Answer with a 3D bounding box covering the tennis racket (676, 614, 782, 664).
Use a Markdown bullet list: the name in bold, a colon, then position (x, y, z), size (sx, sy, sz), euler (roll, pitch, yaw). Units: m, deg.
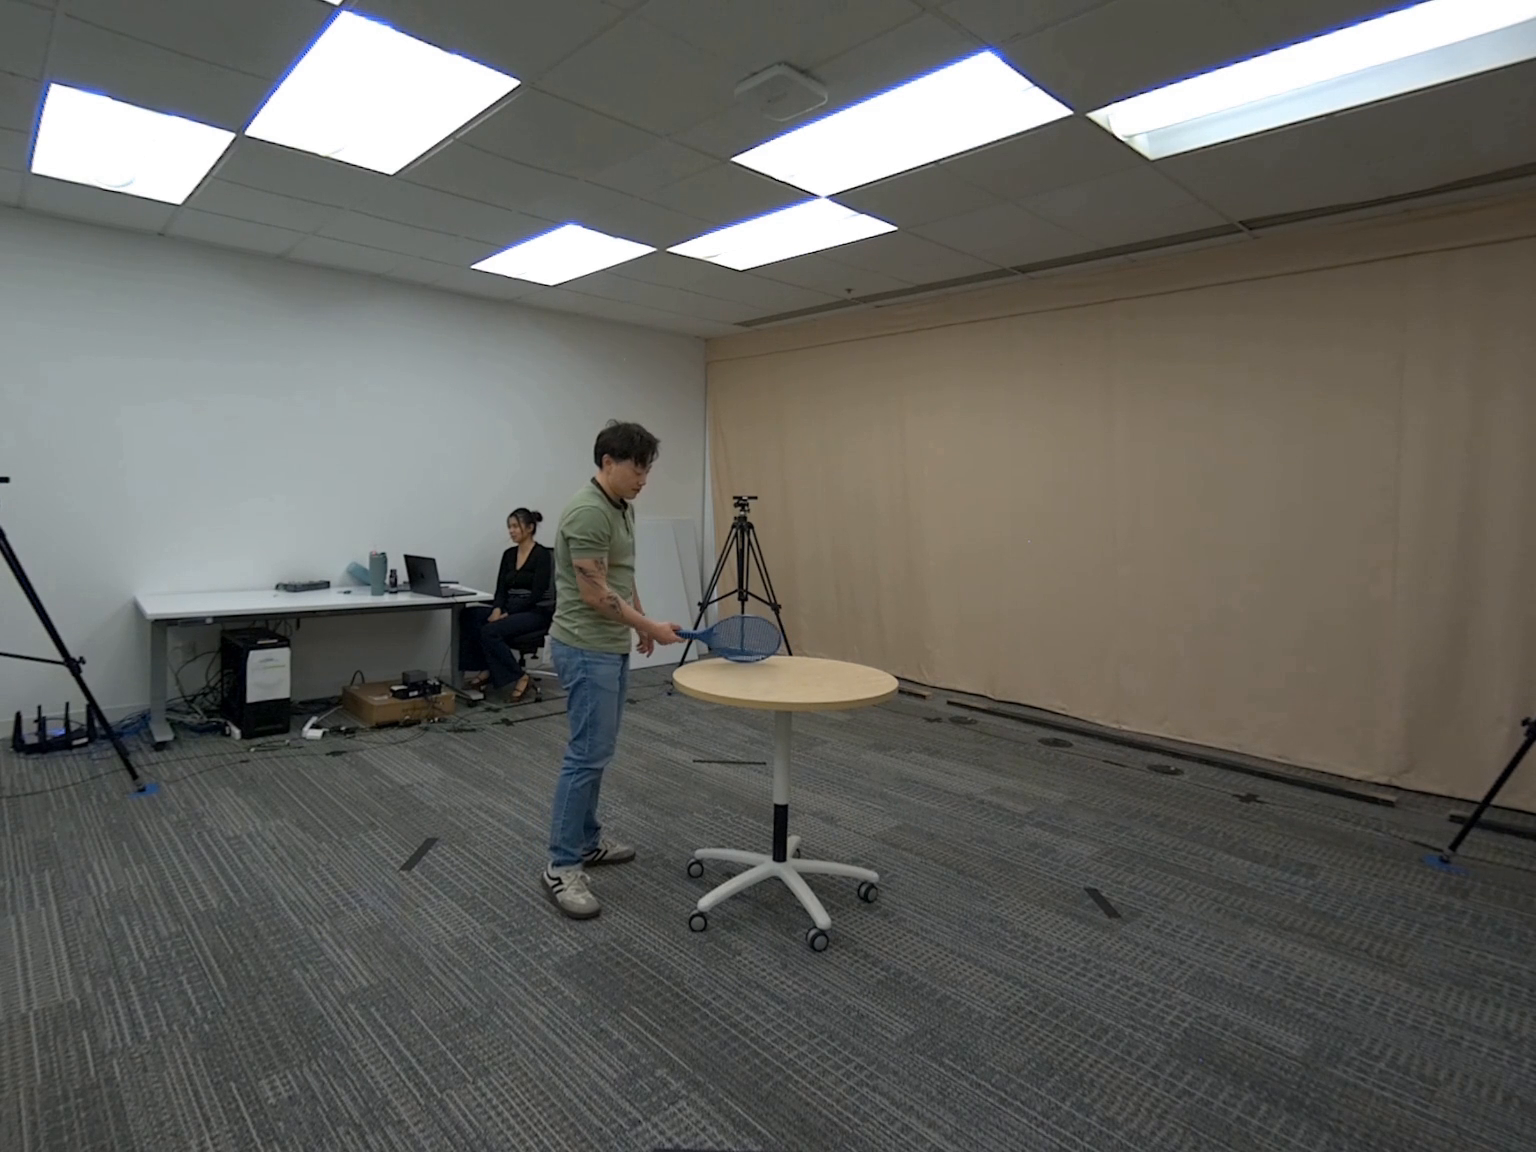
- **tennis racket**: position (-0.176, 0.225, 3.022), size (0.430, 0.211, 0.032), euler (7, 25, -8)
